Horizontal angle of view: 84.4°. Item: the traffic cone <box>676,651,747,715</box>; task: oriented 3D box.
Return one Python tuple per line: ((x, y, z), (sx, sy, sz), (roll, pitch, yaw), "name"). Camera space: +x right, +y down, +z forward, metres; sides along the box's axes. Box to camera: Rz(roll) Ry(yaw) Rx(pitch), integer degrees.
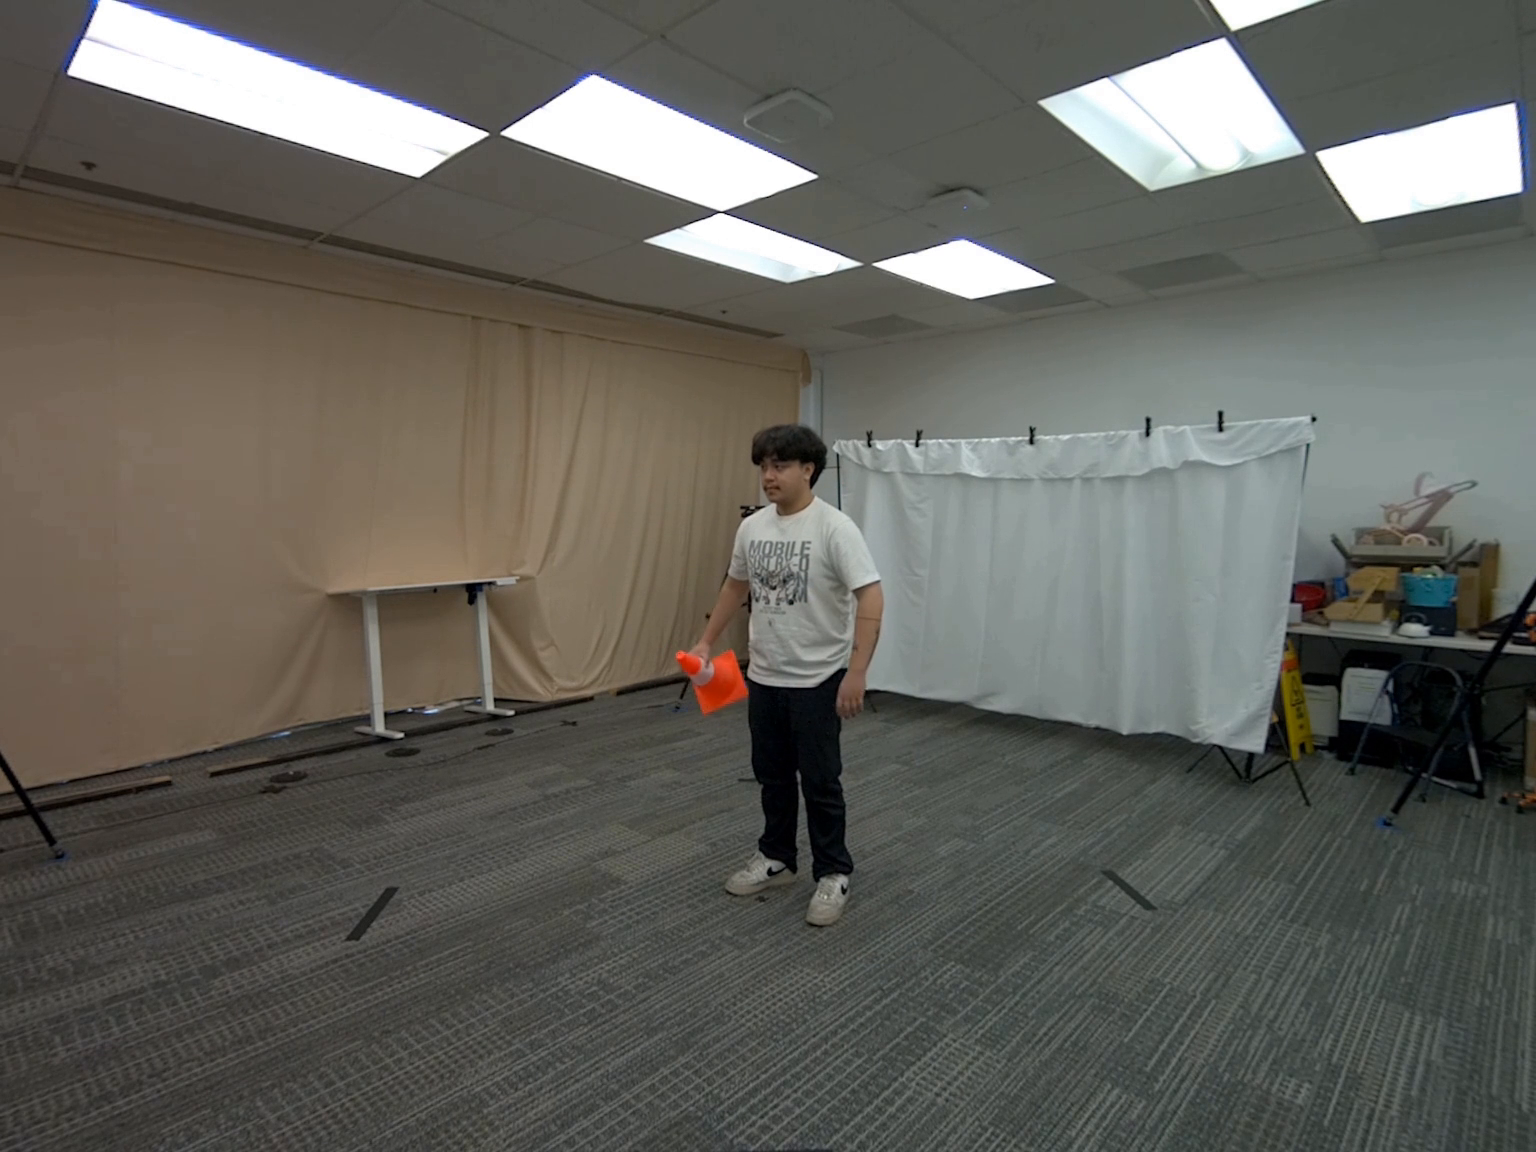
((-0.253, 0.347, 3.145), (0.205, 0.210, 0.371), (-26, -29, 10), "traffic cone")
